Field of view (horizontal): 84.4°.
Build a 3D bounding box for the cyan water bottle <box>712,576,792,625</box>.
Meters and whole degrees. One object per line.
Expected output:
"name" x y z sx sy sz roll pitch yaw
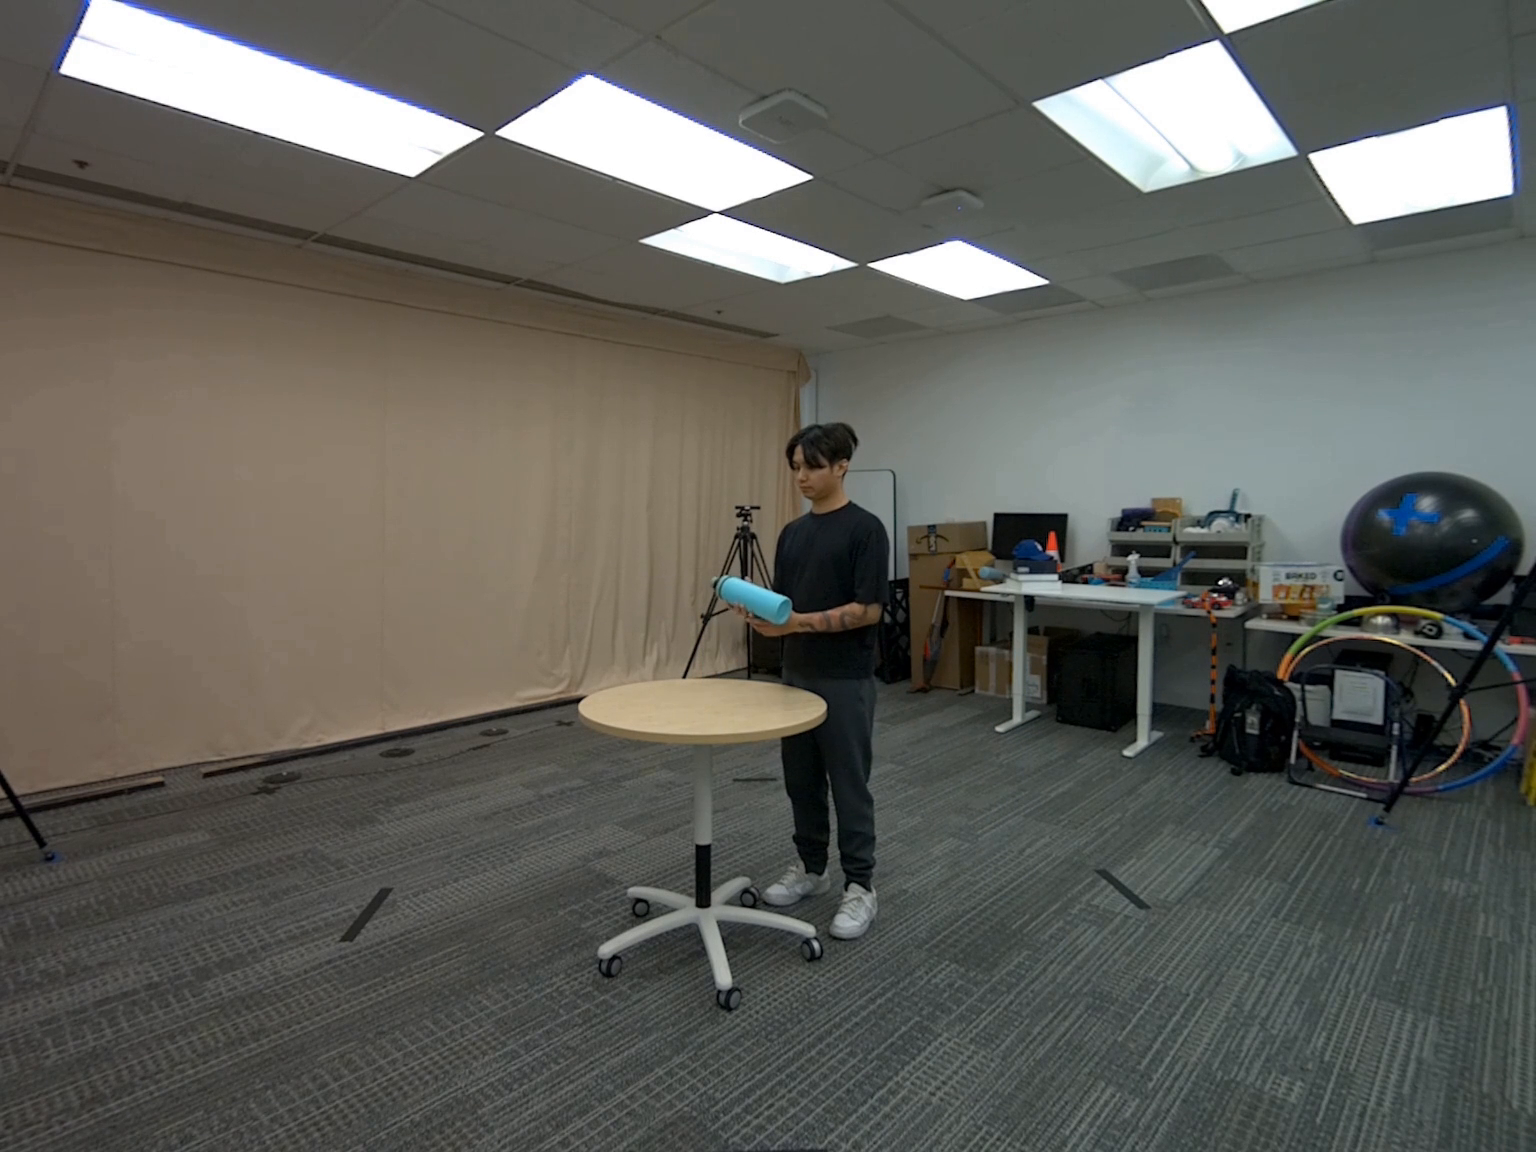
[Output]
"cyan water bottle" -0.059 0.084 2.710 0.293 0.092 0.089 21 15 36
